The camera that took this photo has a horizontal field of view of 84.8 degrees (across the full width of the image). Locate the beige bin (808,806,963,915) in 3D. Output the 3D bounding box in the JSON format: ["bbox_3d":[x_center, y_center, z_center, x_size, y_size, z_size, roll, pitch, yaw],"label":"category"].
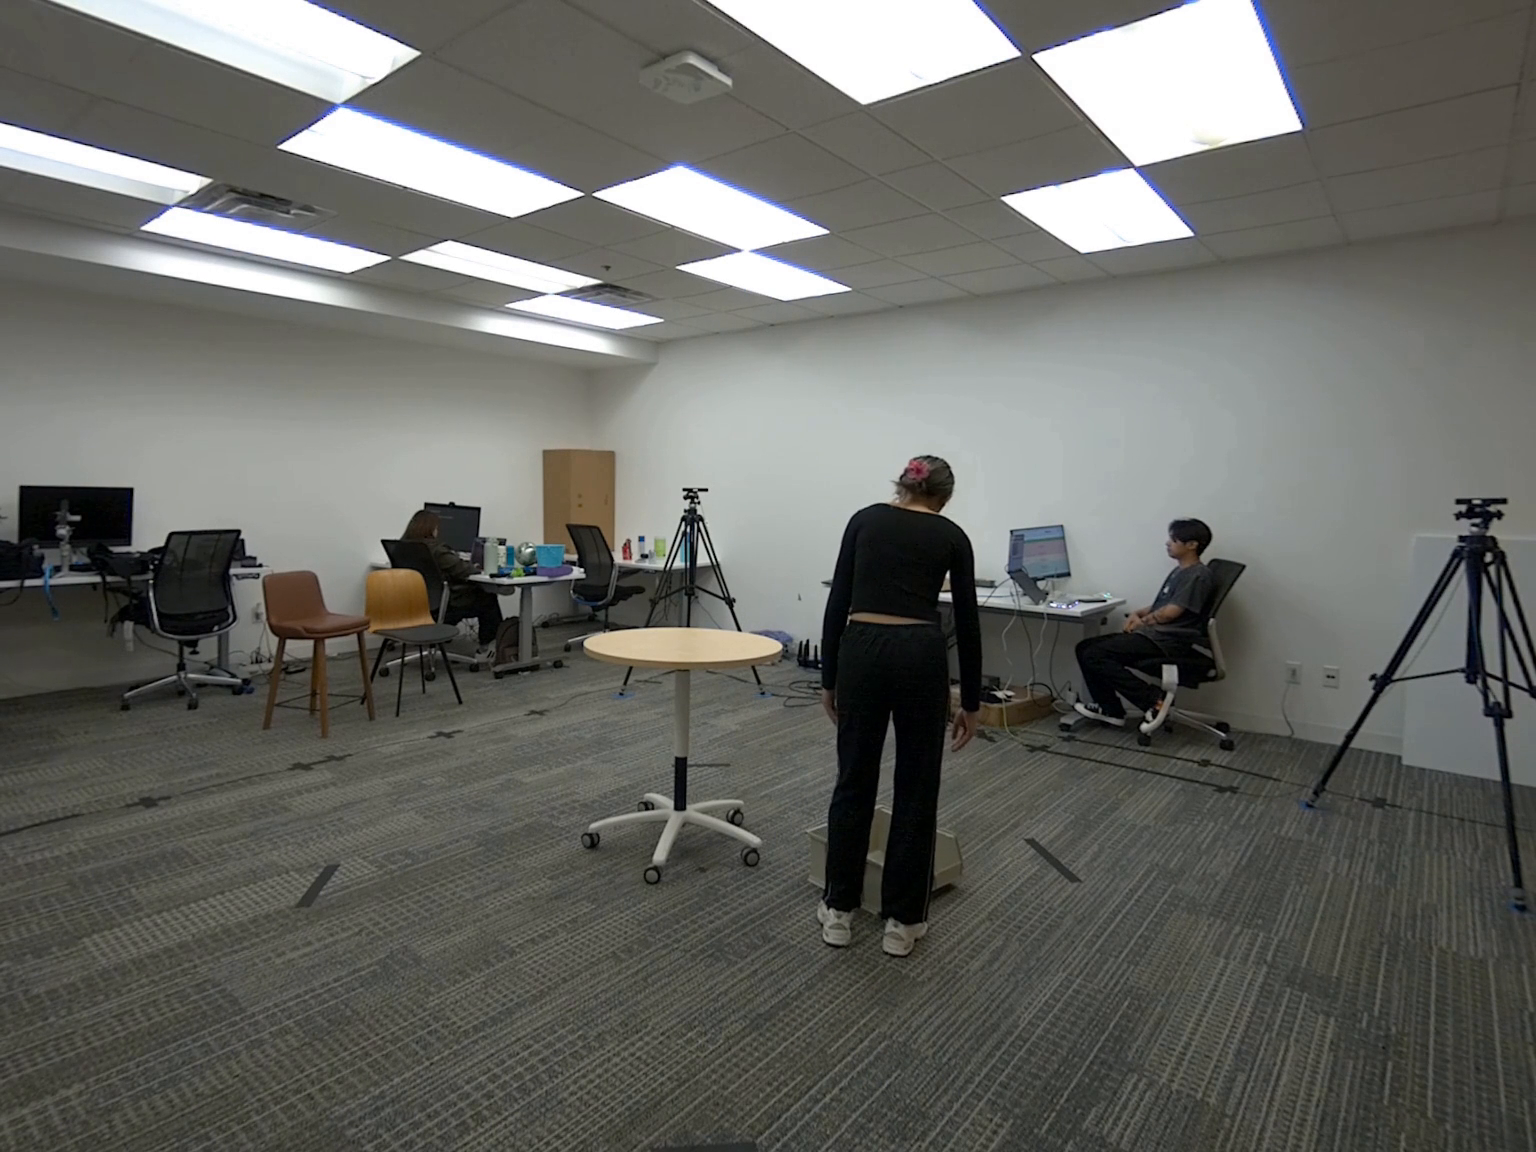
[{"bbox_3d":[0.406,0.998,3.023,0.410,0.188,0.390,-4,6,-42],"label":"beige bin"}]
